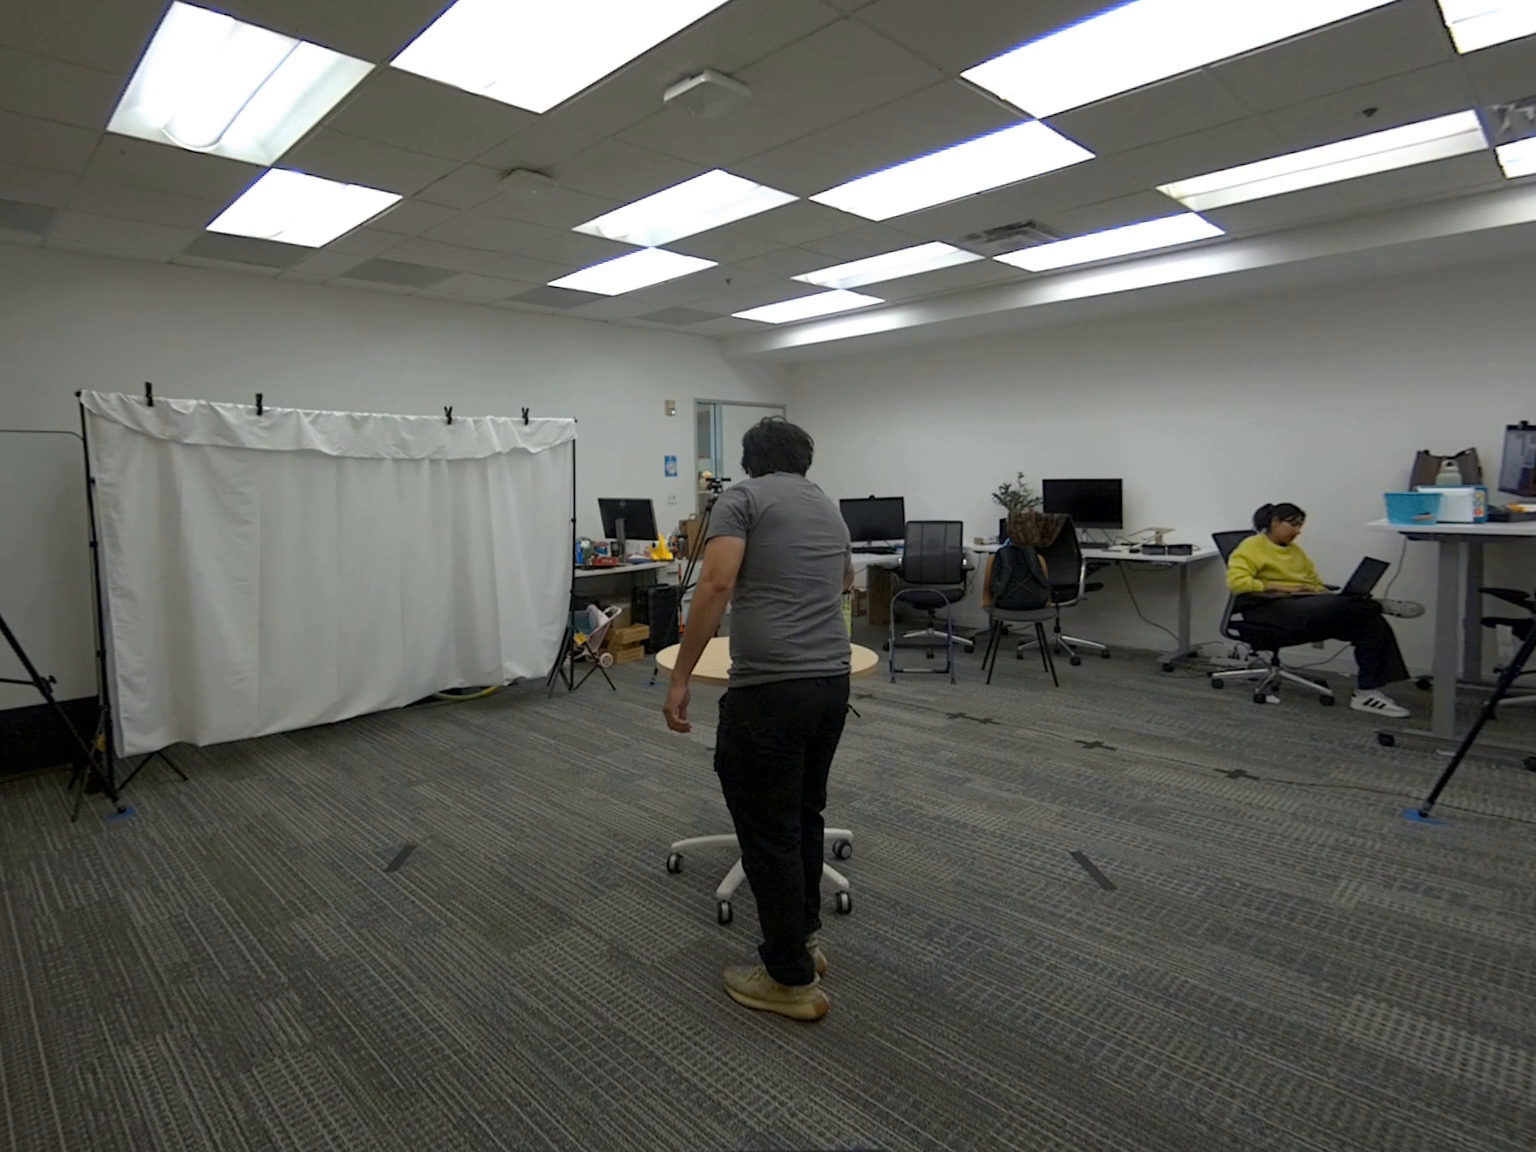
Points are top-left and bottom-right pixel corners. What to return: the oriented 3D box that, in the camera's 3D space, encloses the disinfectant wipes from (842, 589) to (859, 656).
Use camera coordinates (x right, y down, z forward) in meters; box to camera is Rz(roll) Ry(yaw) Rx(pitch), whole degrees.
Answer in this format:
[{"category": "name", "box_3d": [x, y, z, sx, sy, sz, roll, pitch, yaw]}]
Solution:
[{"category": "disinfectant wipes", "box_3d": [0.244, 0.159, 3.042, 0.117, 0.216, 0.118, 3, 5, -2]}]
